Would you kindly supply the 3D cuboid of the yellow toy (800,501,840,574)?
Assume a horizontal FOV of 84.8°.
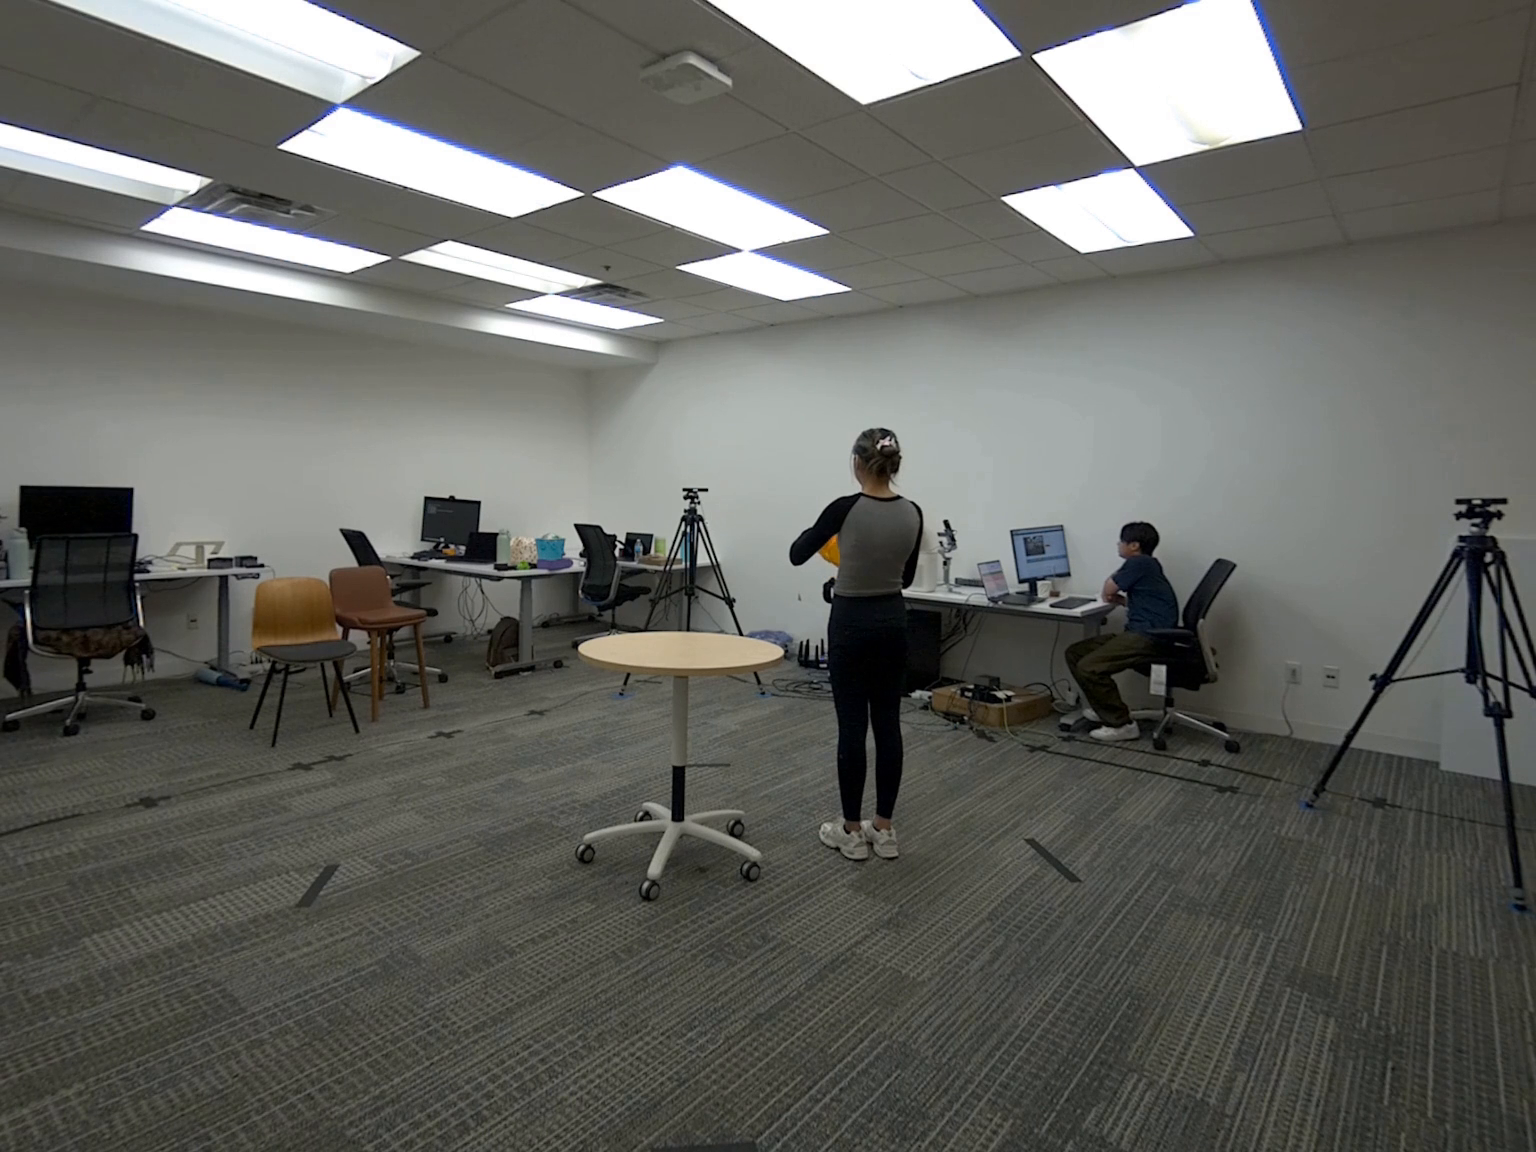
[{"bbox_3d":[0.297,-0.157,3.662,0.200,0.193,0.237,35,14,-19],"label":"yellow toy"}]
